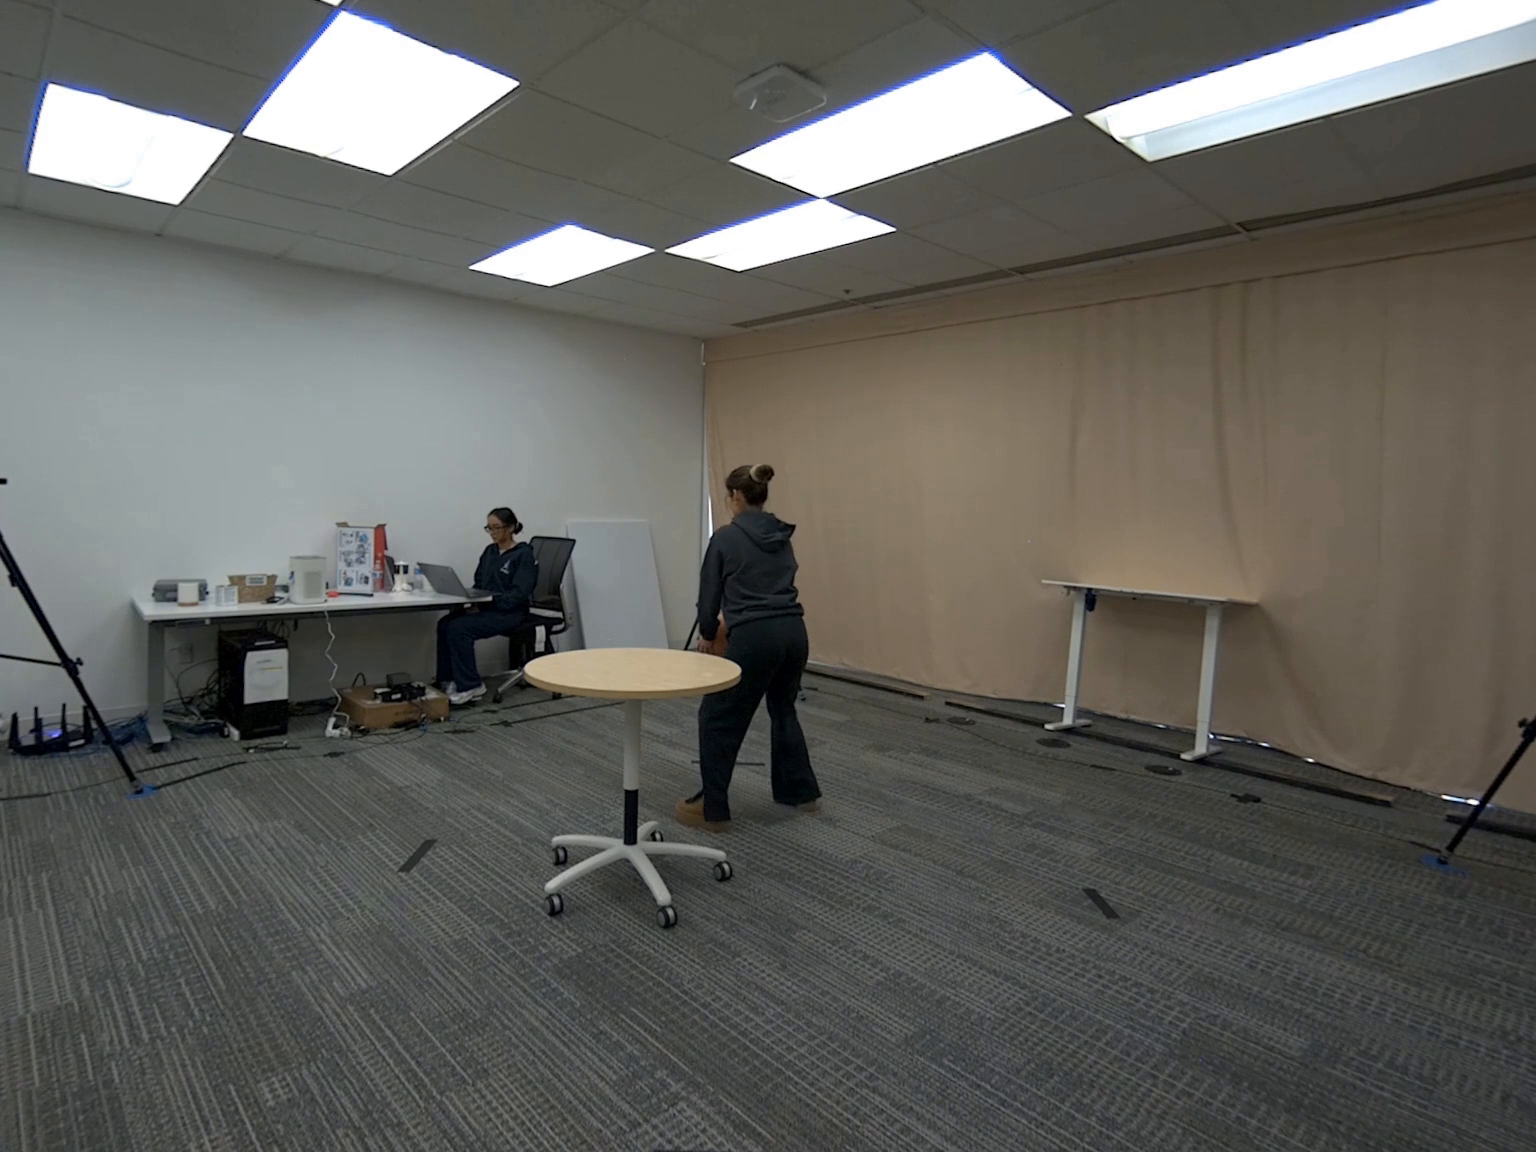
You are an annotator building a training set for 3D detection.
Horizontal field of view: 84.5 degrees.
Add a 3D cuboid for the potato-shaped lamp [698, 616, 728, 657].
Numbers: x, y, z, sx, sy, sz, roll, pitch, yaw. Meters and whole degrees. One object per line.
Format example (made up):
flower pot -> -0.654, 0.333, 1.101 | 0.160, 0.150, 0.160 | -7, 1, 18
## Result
potato-shaped lamp -> -0.263, 0.280, 3.991 | 0.161, 0.198, 0.176 | 1, 3, -45
